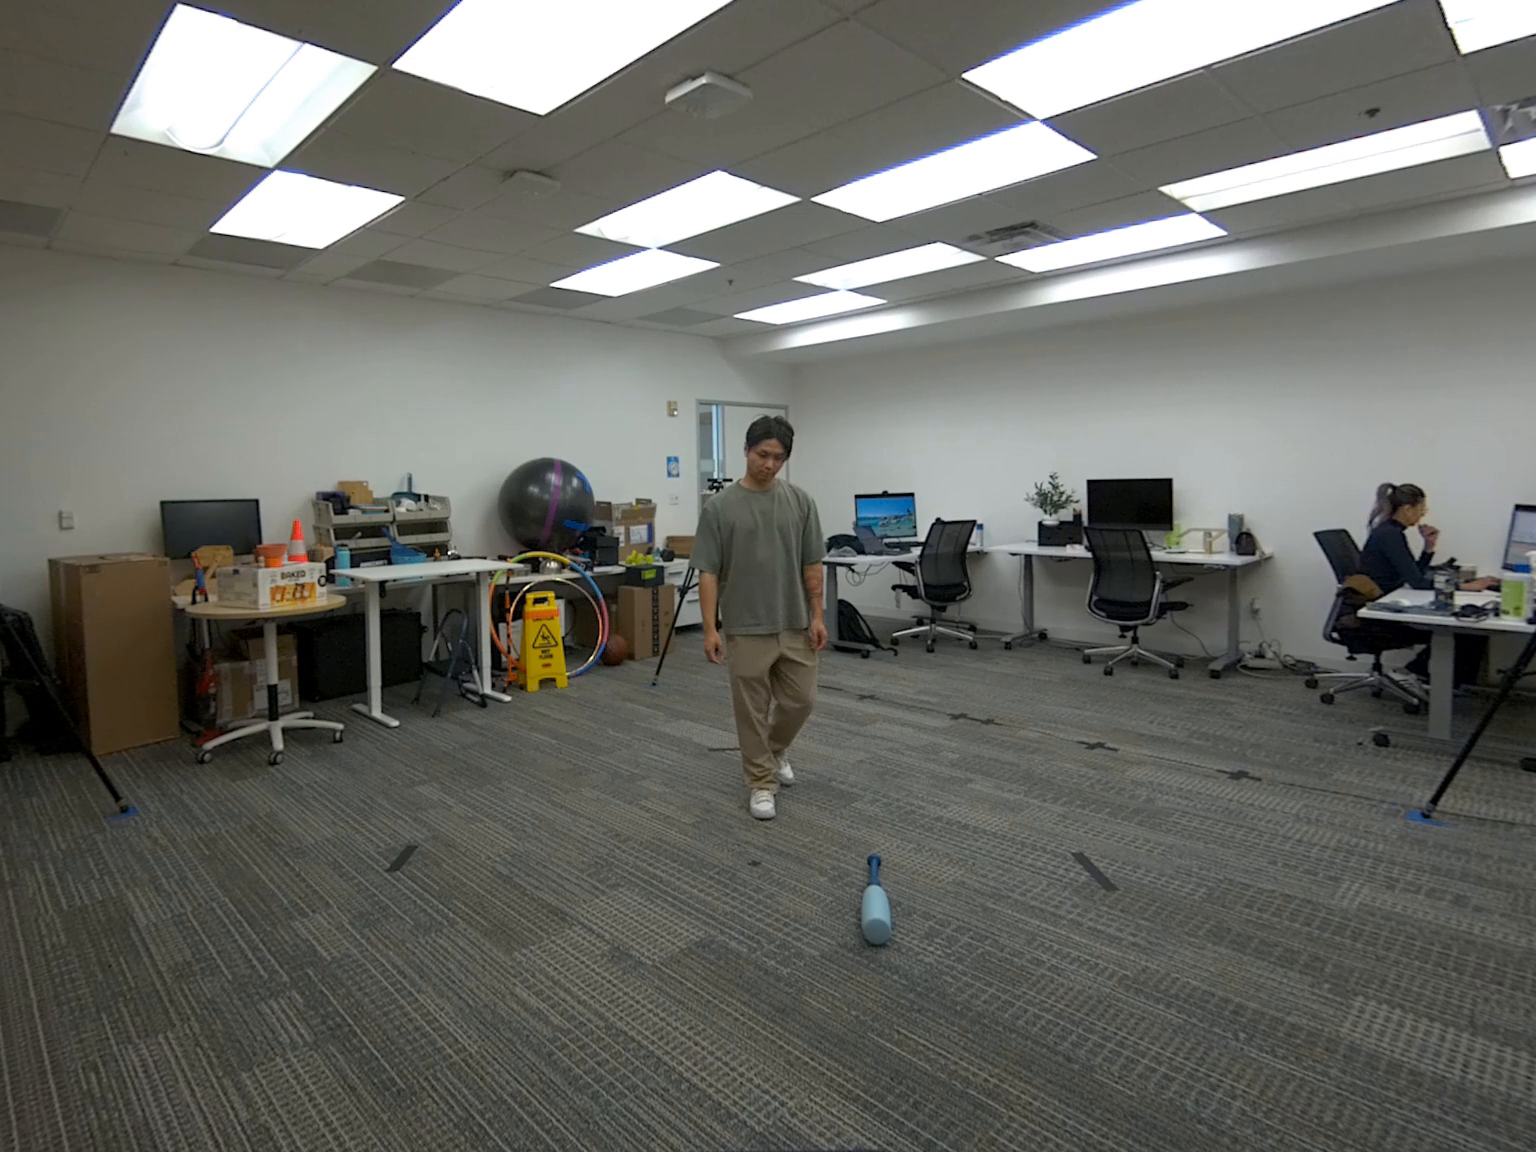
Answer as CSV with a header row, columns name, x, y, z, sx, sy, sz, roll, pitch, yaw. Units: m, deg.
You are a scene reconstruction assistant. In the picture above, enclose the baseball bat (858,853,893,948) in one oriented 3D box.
name,x,y,z,sx,sy,sz,roll,pitch,yaw
baseball bat,0.353,1.043,2.790,0.090,0.089,0.539,0,3,7
